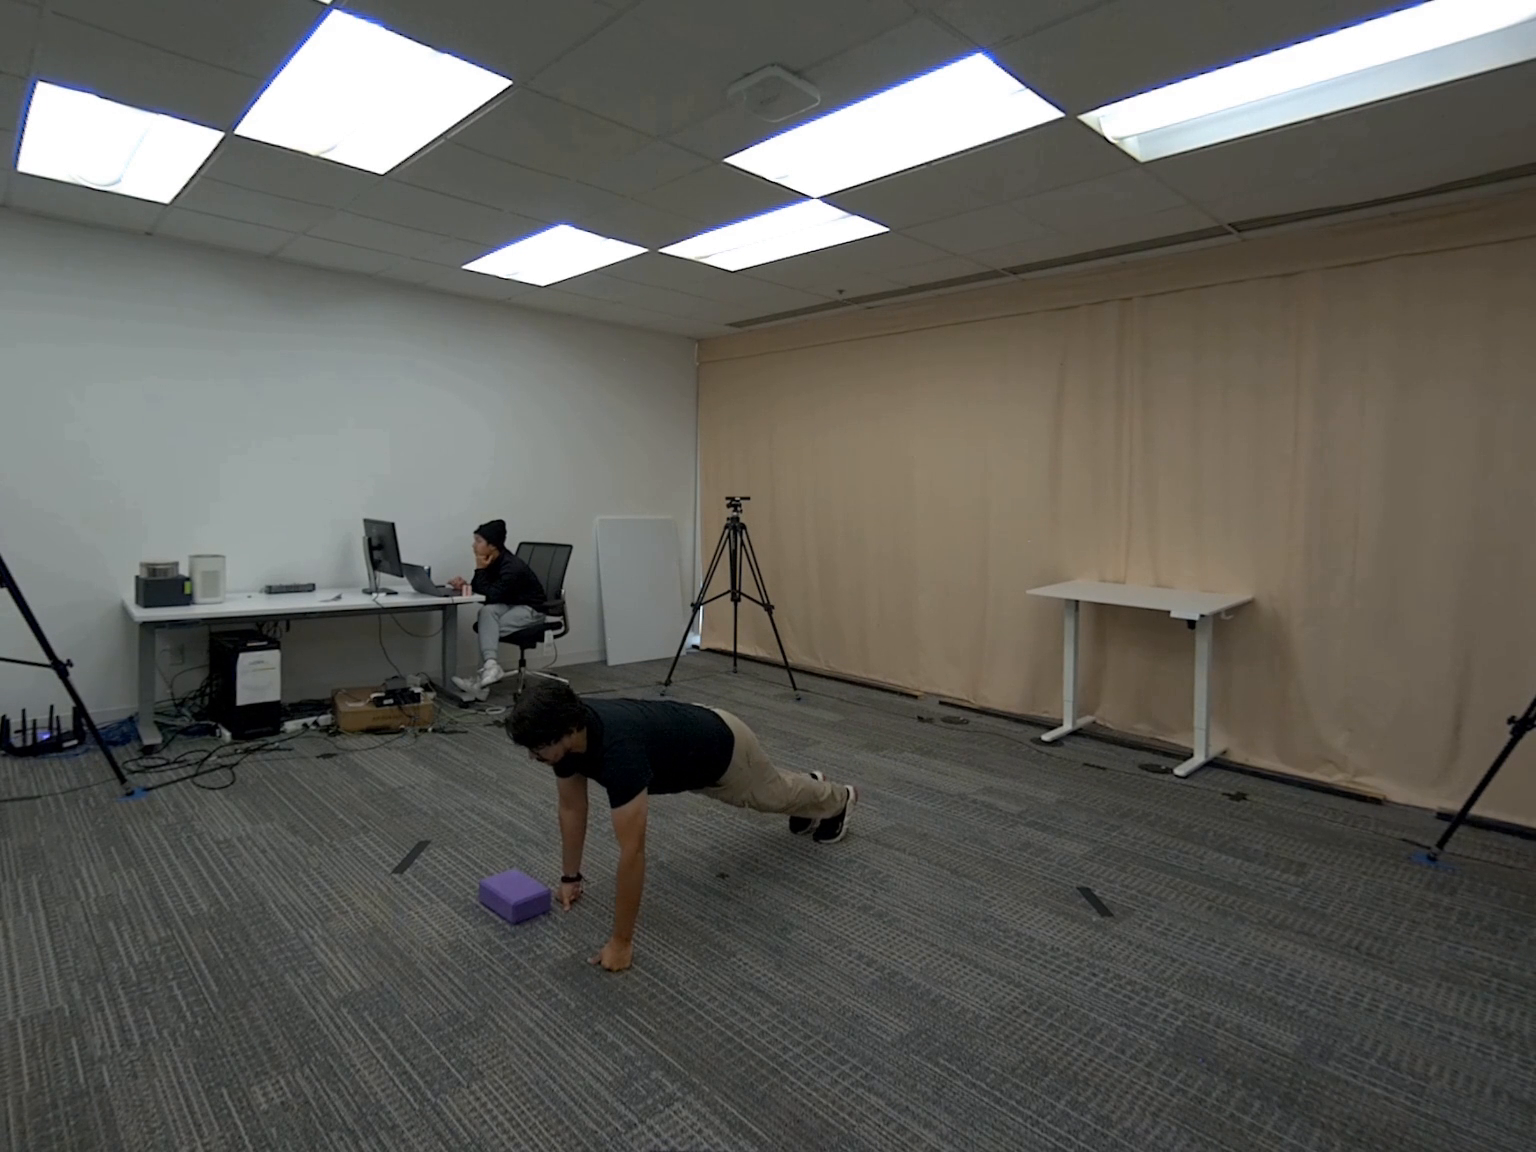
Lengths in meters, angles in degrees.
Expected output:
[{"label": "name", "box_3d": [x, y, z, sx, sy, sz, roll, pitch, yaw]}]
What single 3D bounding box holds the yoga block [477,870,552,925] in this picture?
[{"label": "yoga block", "box_3d": [-0.860, 1.076, 2.833, 0.235, 0.076, 0.146, 7, 8, 43]}]
